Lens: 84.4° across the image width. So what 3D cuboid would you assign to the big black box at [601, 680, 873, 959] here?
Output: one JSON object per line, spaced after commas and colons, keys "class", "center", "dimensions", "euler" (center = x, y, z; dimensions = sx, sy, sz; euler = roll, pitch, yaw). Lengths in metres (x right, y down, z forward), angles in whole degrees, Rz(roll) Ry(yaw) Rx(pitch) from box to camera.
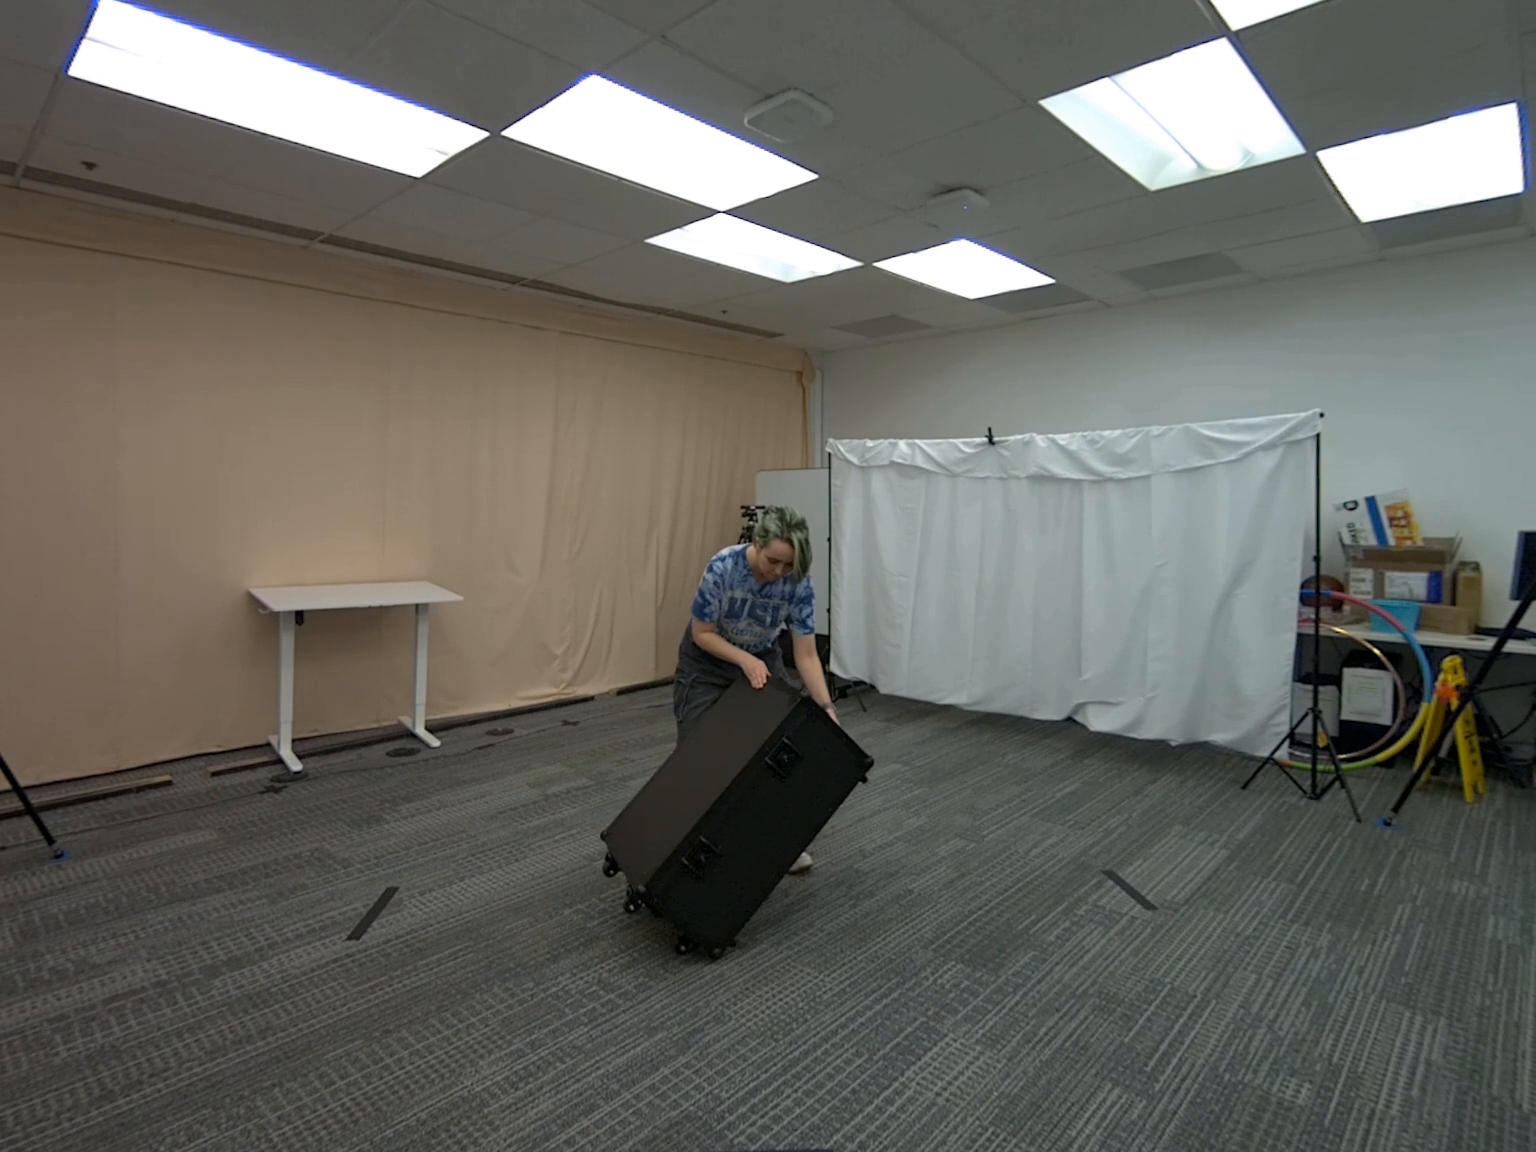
{"class": "big black box", "center": [-0.135, 0.779, 2.802], "dimensions": [0.858, 0.389, 0.533], "euler": [-46, 17, -12]}
